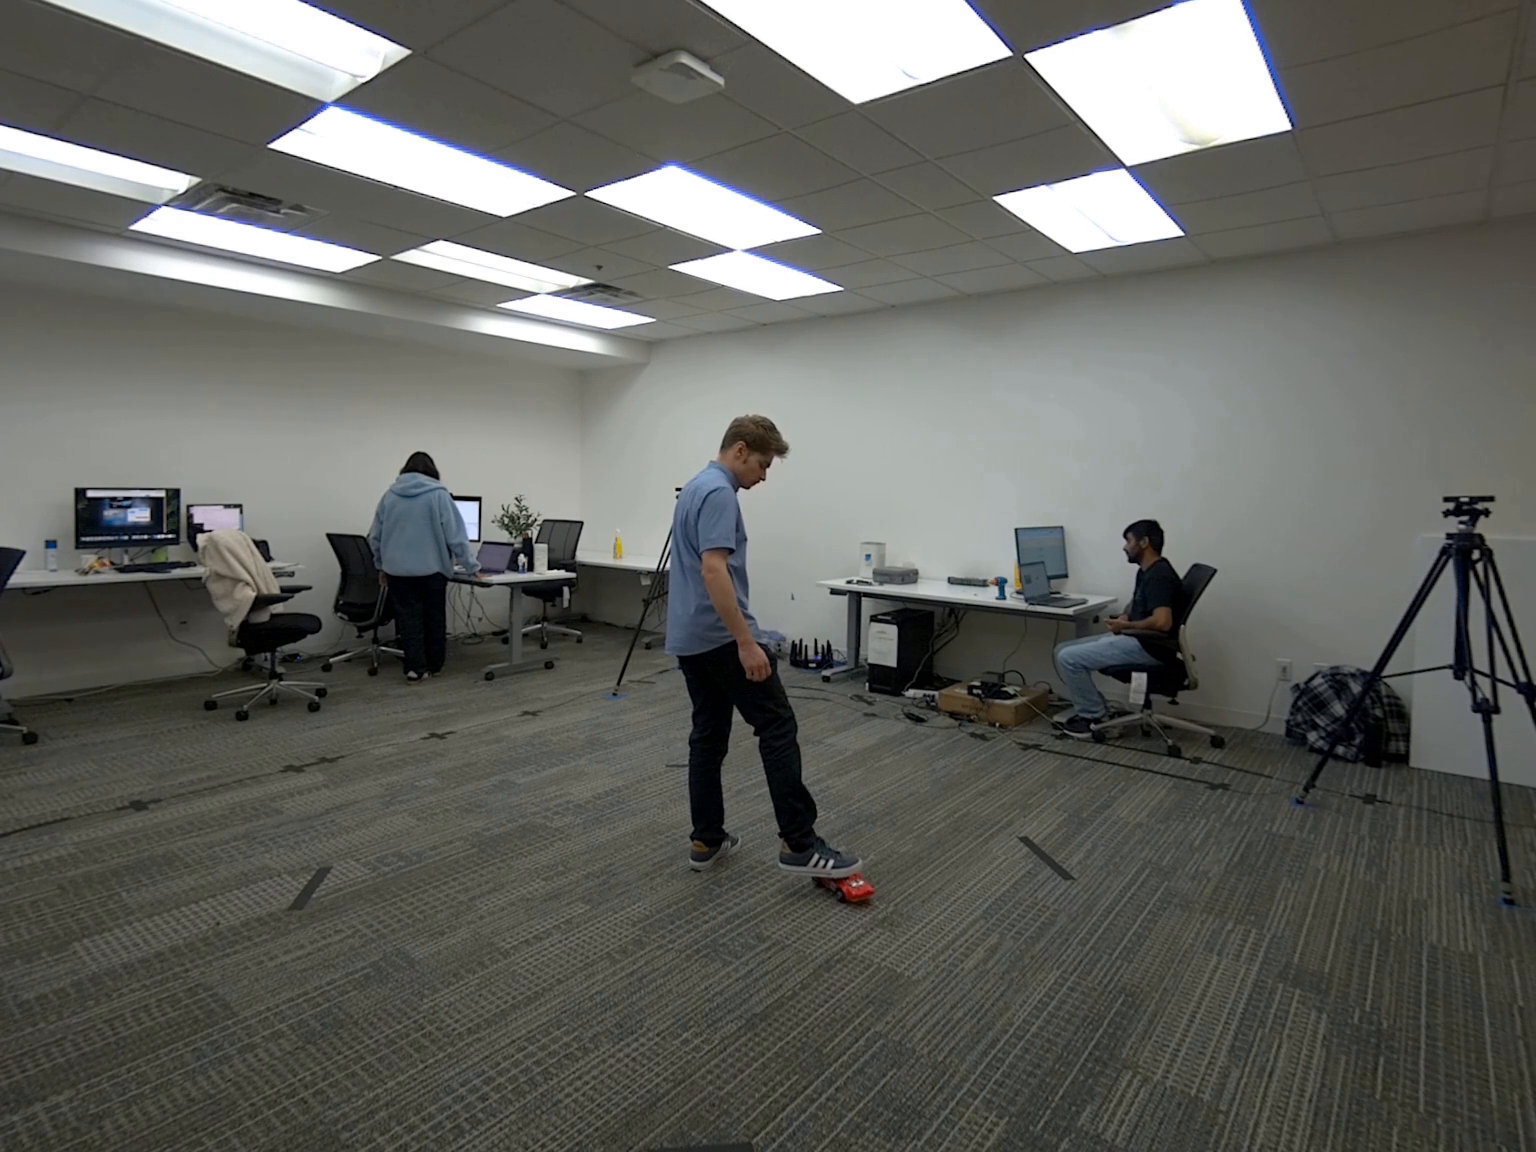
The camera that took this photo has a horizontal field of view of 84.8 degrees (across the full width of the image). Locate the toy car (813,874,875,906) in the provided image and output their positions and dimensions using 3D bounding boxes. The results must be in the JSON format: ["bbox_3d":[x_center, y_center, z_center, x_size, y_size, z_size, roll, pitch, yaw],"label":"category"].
[{"bbox_3d":[0.254,1.064,2.946,0.127,0.083,0.260,-3,-4,-31],"label":"toy car"}]
